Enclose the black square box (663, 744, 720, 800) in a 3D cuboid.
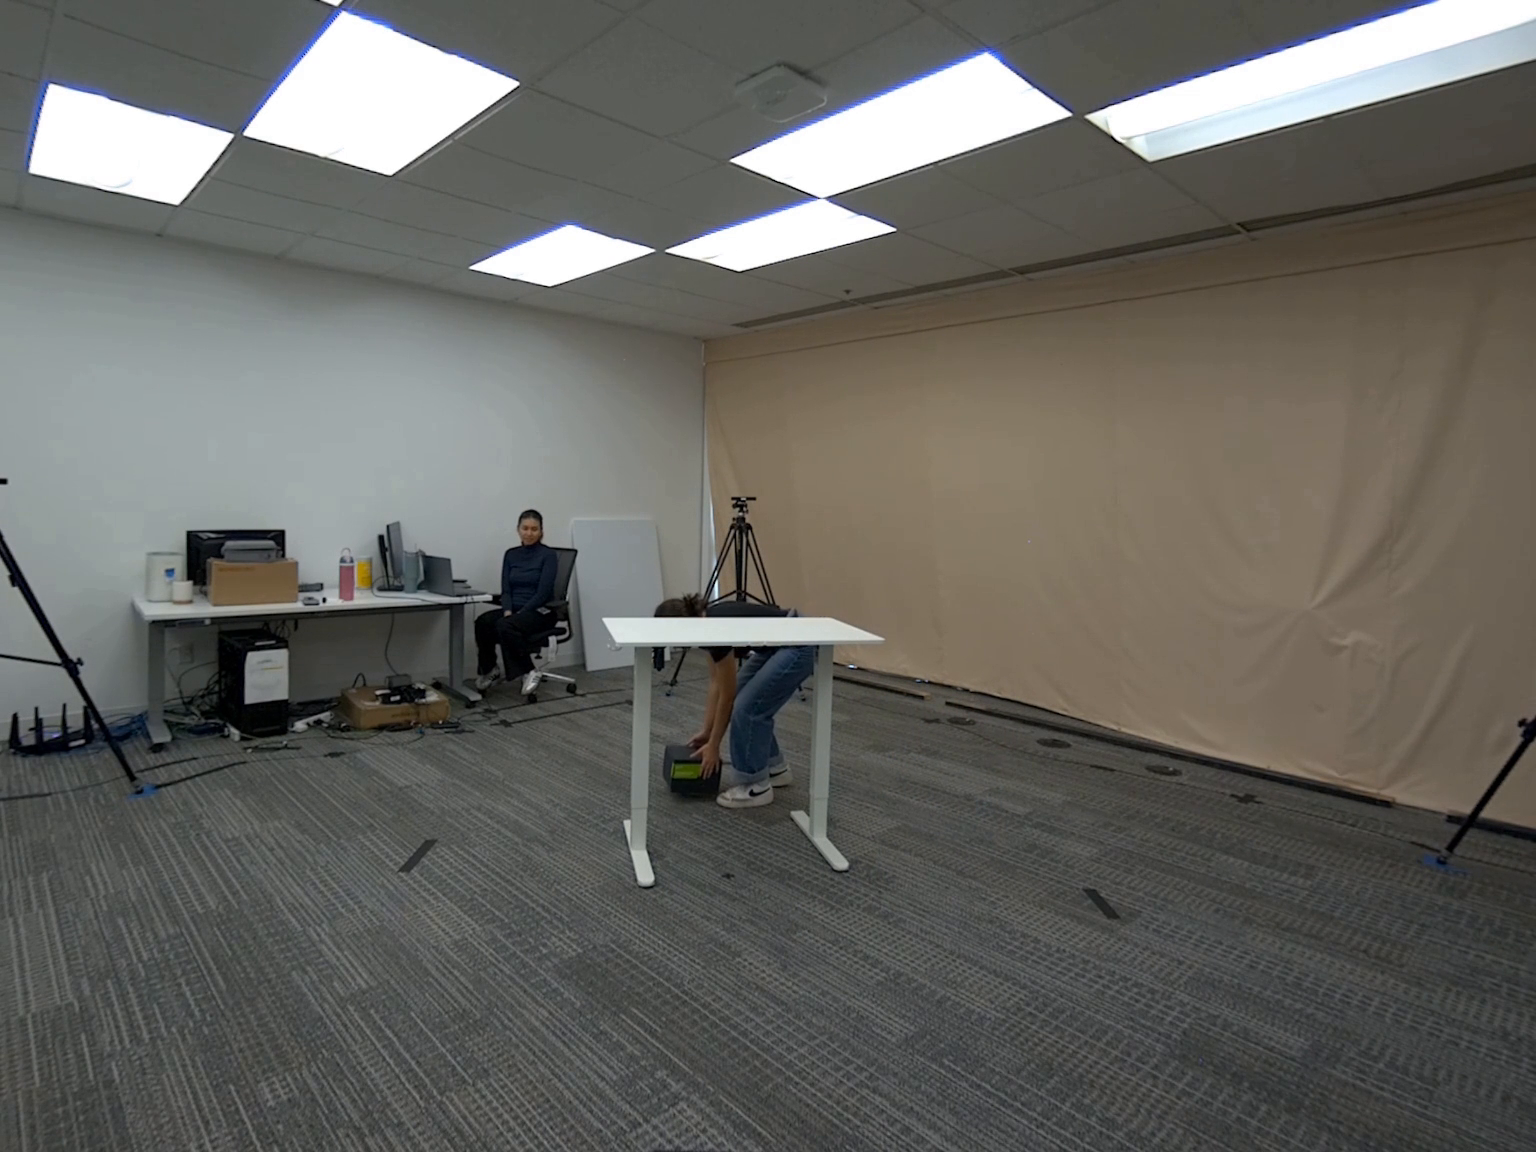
[{"bbox_3d":[-0.366,0.904,3.956,0.224,0.155,0.221,5,4,-18],"label":"black square box"}]
